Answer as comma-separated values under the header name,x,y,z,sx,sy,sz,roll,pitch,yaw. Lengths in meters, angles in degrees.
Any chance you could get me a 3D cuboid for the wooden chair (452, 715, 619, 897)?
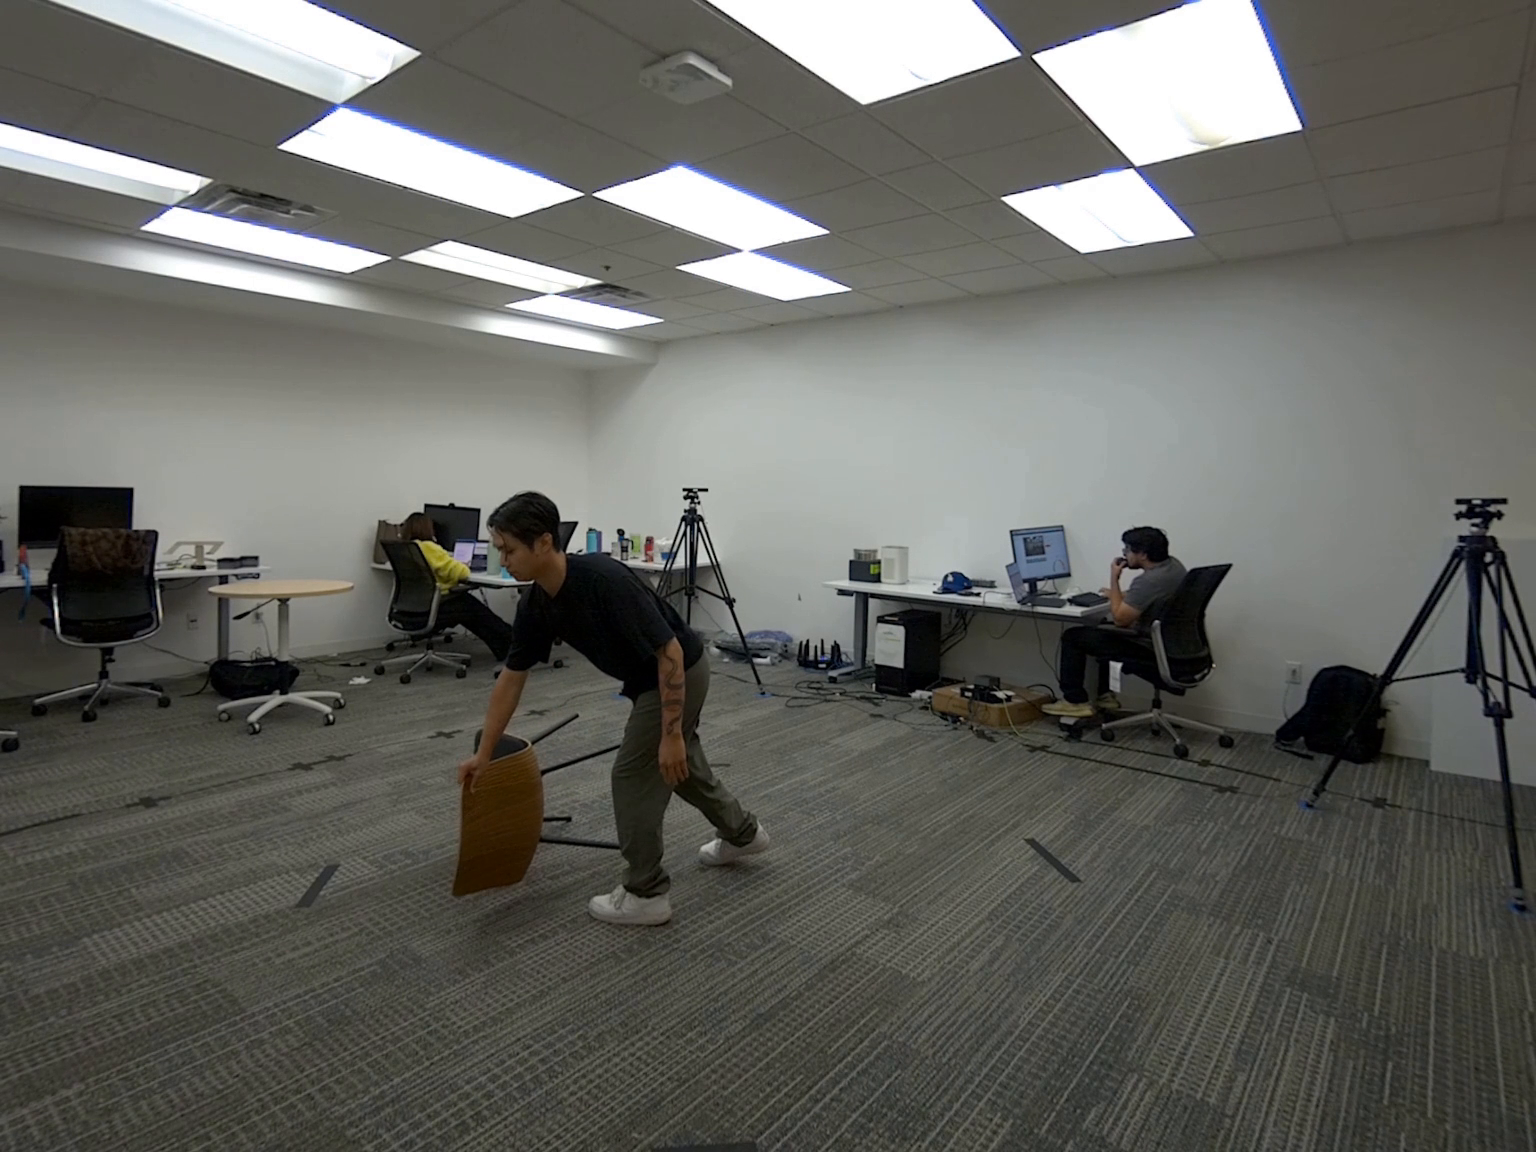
name,x,y,z,sx,sy,sz,roll,pitch,yaw
wooden chair,-0.927,0.810,3.091,0.540,0.477,0.850,5,4,36
